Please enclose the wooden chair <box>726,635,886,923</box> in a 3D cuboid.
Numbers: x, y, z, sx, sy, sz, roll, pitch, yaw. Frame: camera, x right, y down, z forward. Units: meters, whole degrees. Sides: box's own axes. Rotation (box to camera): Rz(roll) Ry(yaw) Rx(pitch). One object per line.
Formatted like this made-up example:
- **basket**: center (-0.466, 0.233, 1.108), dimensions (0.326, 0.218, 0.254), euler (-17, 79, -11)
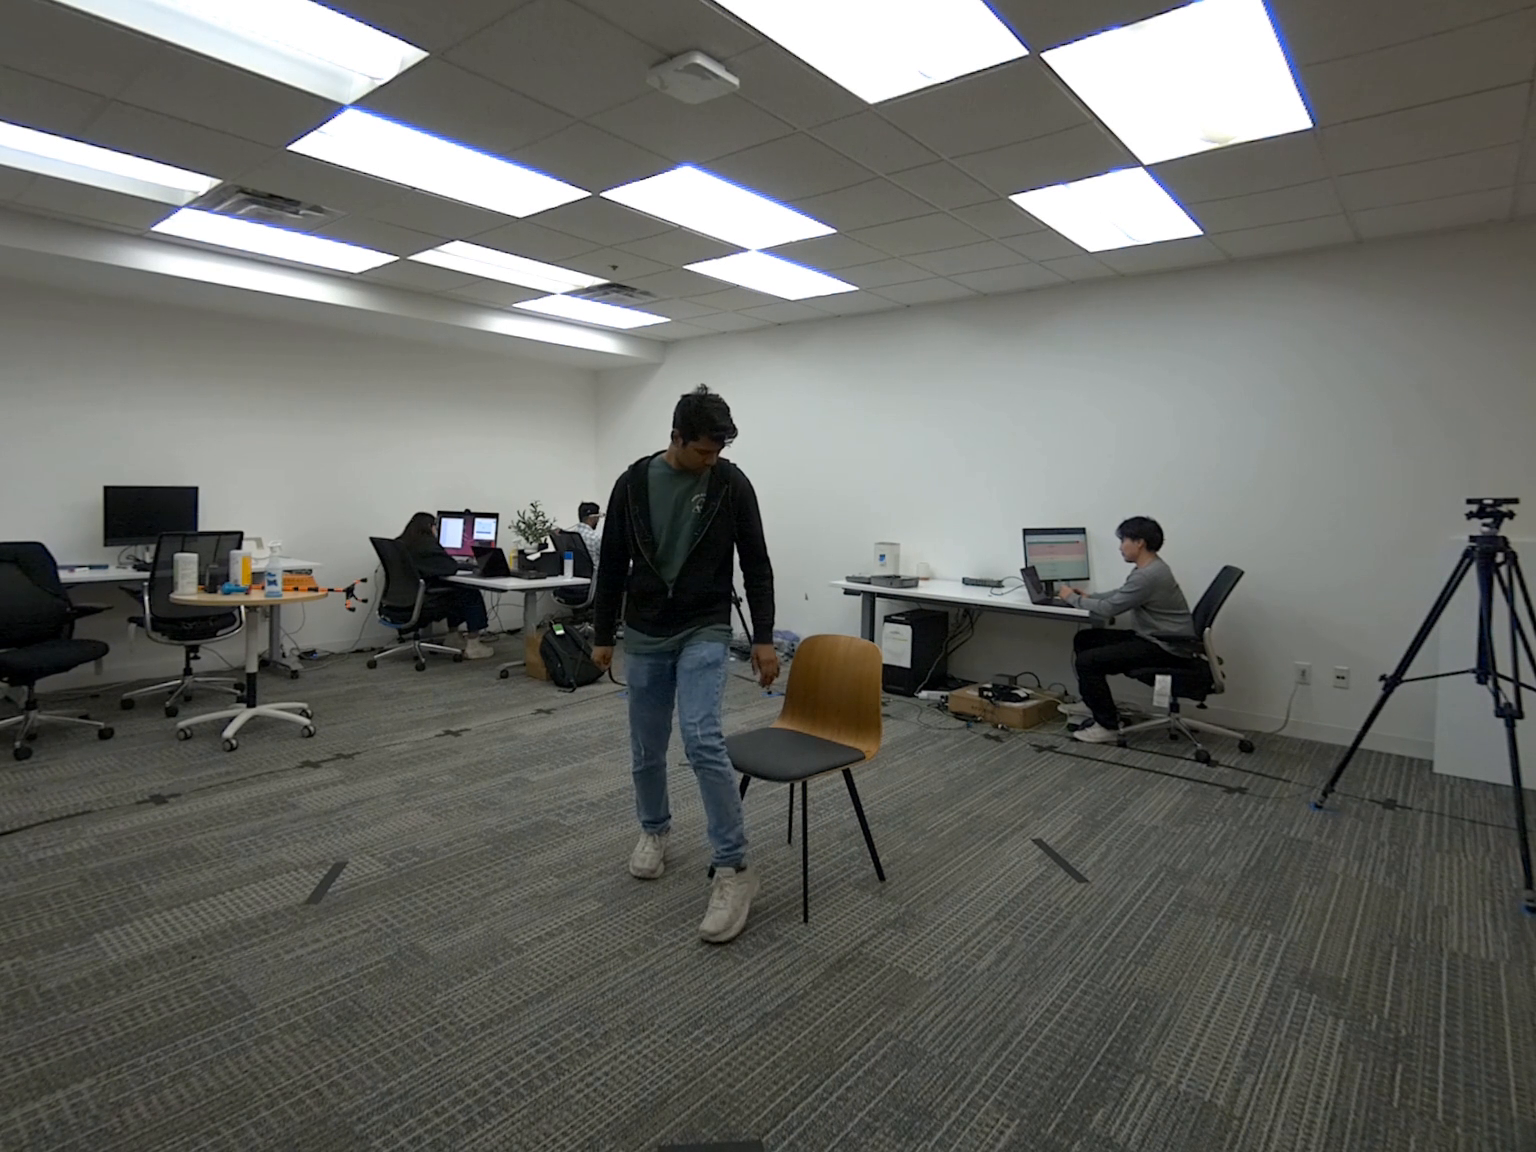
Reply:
- **wooden chair**: center (0.101, 0.657, 3.015), dimensions (0.494, 0.877, 0.506), euler (5, 1, 43)
